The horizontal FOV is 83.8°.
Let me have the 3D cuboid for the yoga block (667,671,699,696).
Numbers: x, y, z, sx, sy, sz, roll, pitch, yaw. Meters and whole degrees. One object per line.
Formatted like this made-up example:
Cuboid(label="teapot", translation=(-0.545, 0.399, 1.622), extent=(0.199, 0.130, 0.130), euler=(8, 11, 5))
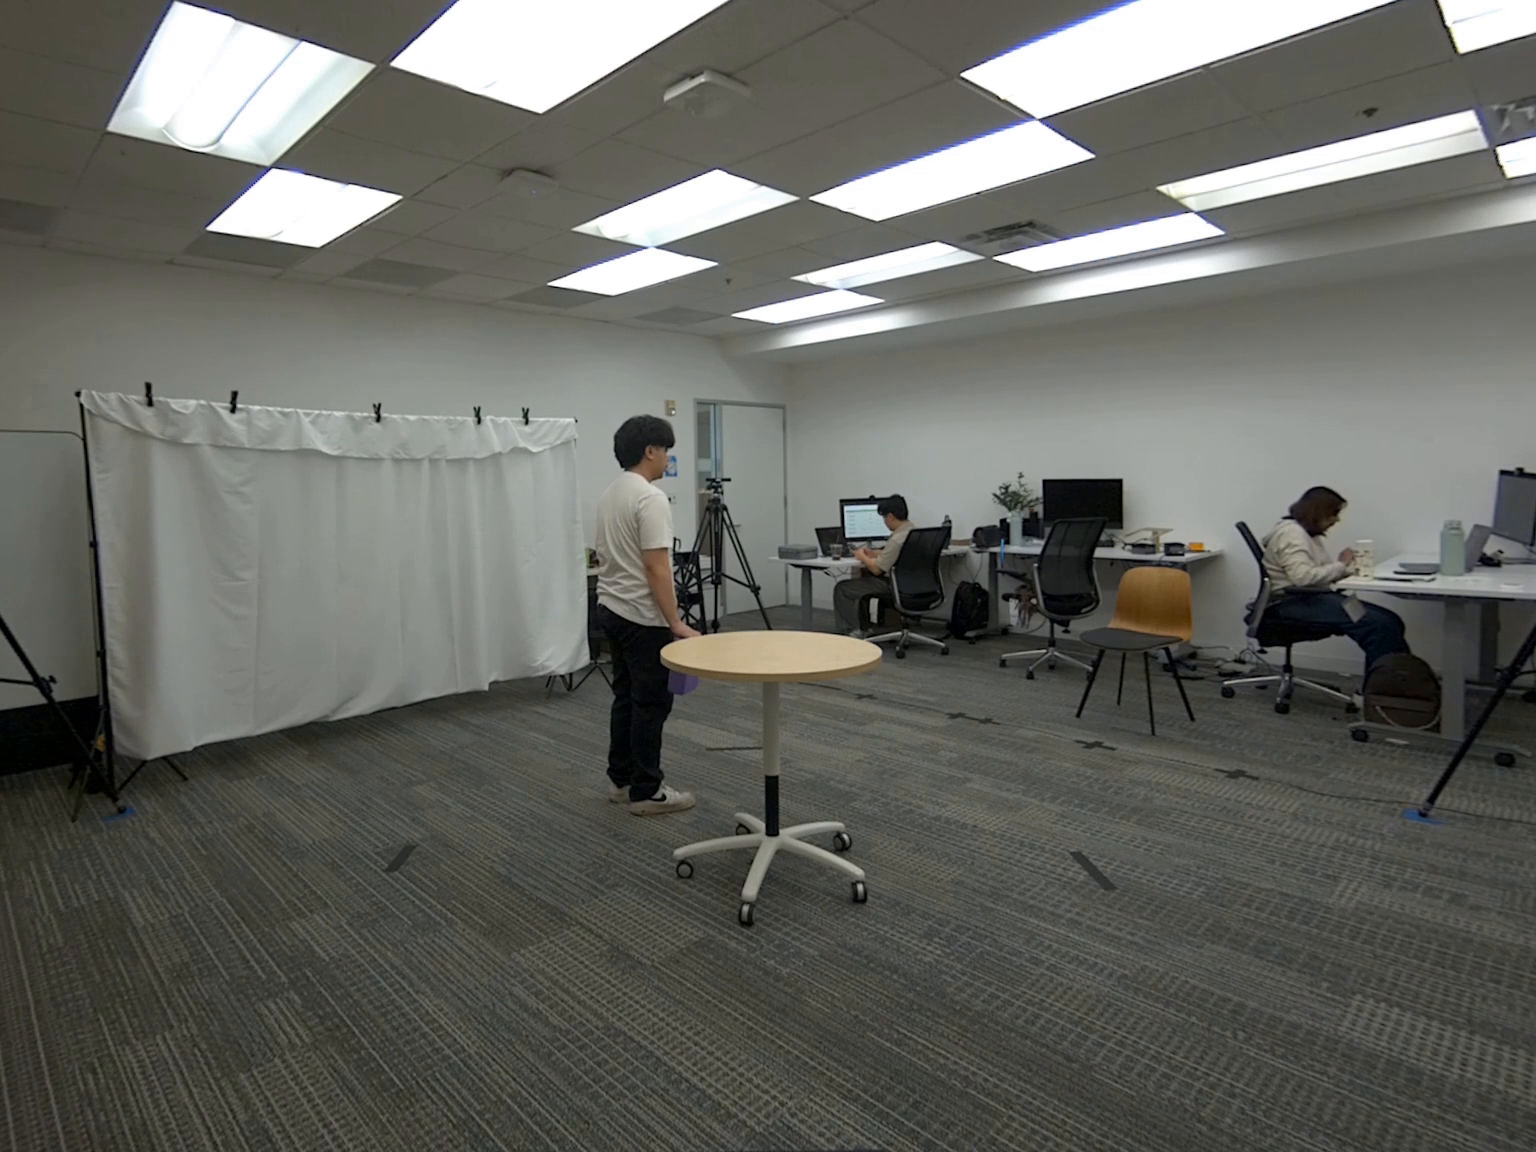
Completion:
Cuboid(label="yoga block", translation=(-0.349, 0.361, 3.552), extent=(0.078, 0.228, 0.146), euler=(6, 5, 22))
